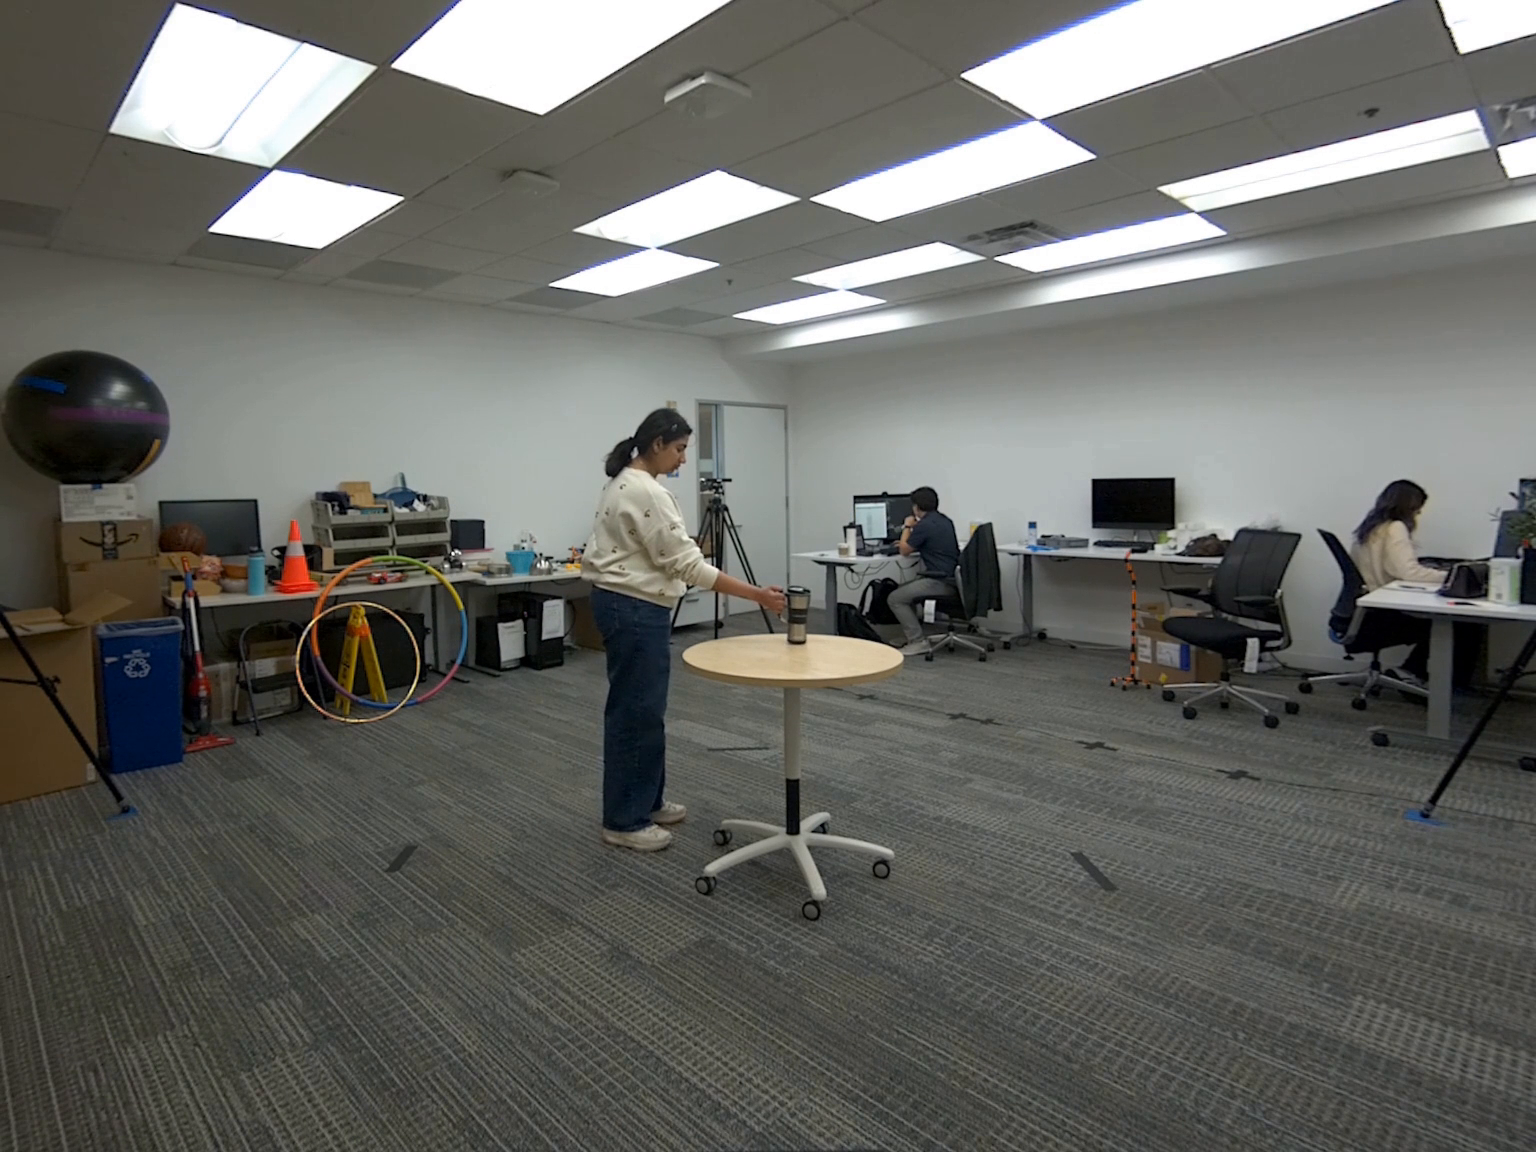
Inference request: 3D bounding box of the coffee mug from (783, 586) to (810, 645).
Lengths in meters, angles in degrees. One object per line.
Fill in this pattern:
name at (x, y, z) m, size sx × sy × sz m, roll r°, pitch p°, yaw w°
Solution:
coffee mug at (0.096, 0.144, 3.182) m, size 0.086 × 0.201 × 0.126 m, roll -7°, pitch 13°, yaw -39°
